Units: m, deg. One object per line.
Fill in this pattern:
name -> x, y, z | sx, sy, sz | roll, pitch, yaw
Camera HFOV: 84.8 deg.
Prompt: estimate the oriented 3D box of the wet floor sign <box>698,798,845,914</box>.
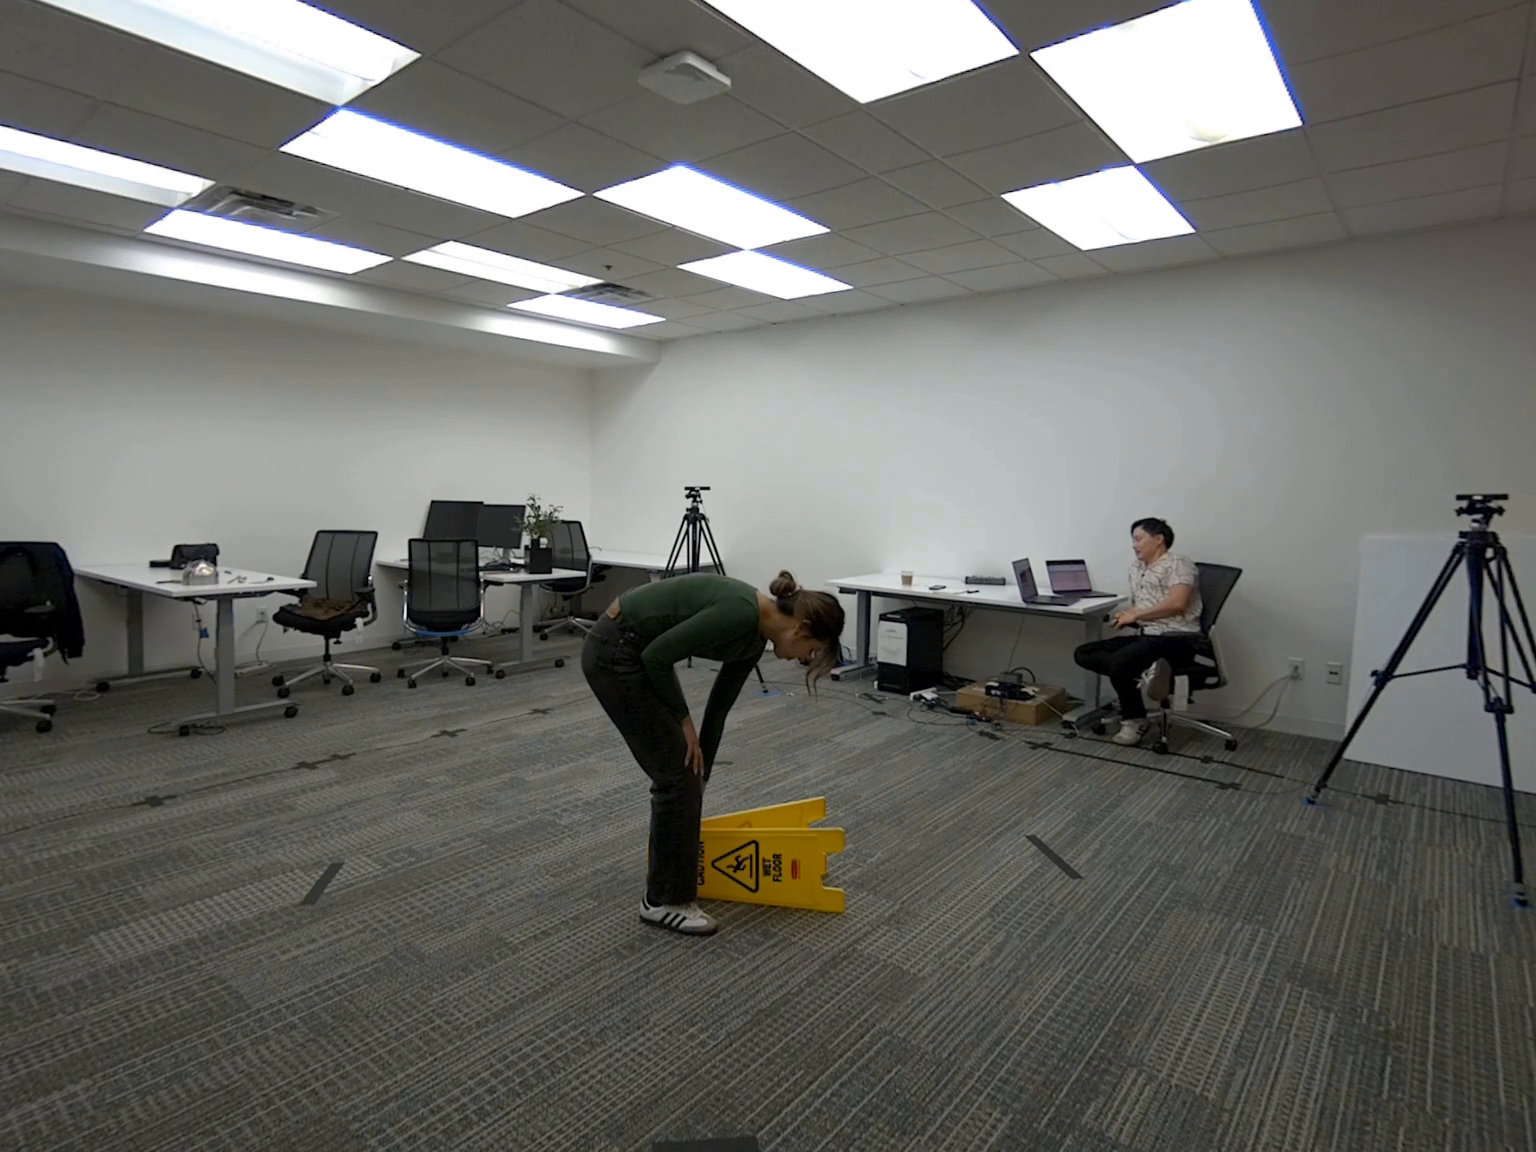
wet floor sign -> -0.096, 0.953, 2.911 | 0.643, 0.281, 0.292 | -2, 5, -5
